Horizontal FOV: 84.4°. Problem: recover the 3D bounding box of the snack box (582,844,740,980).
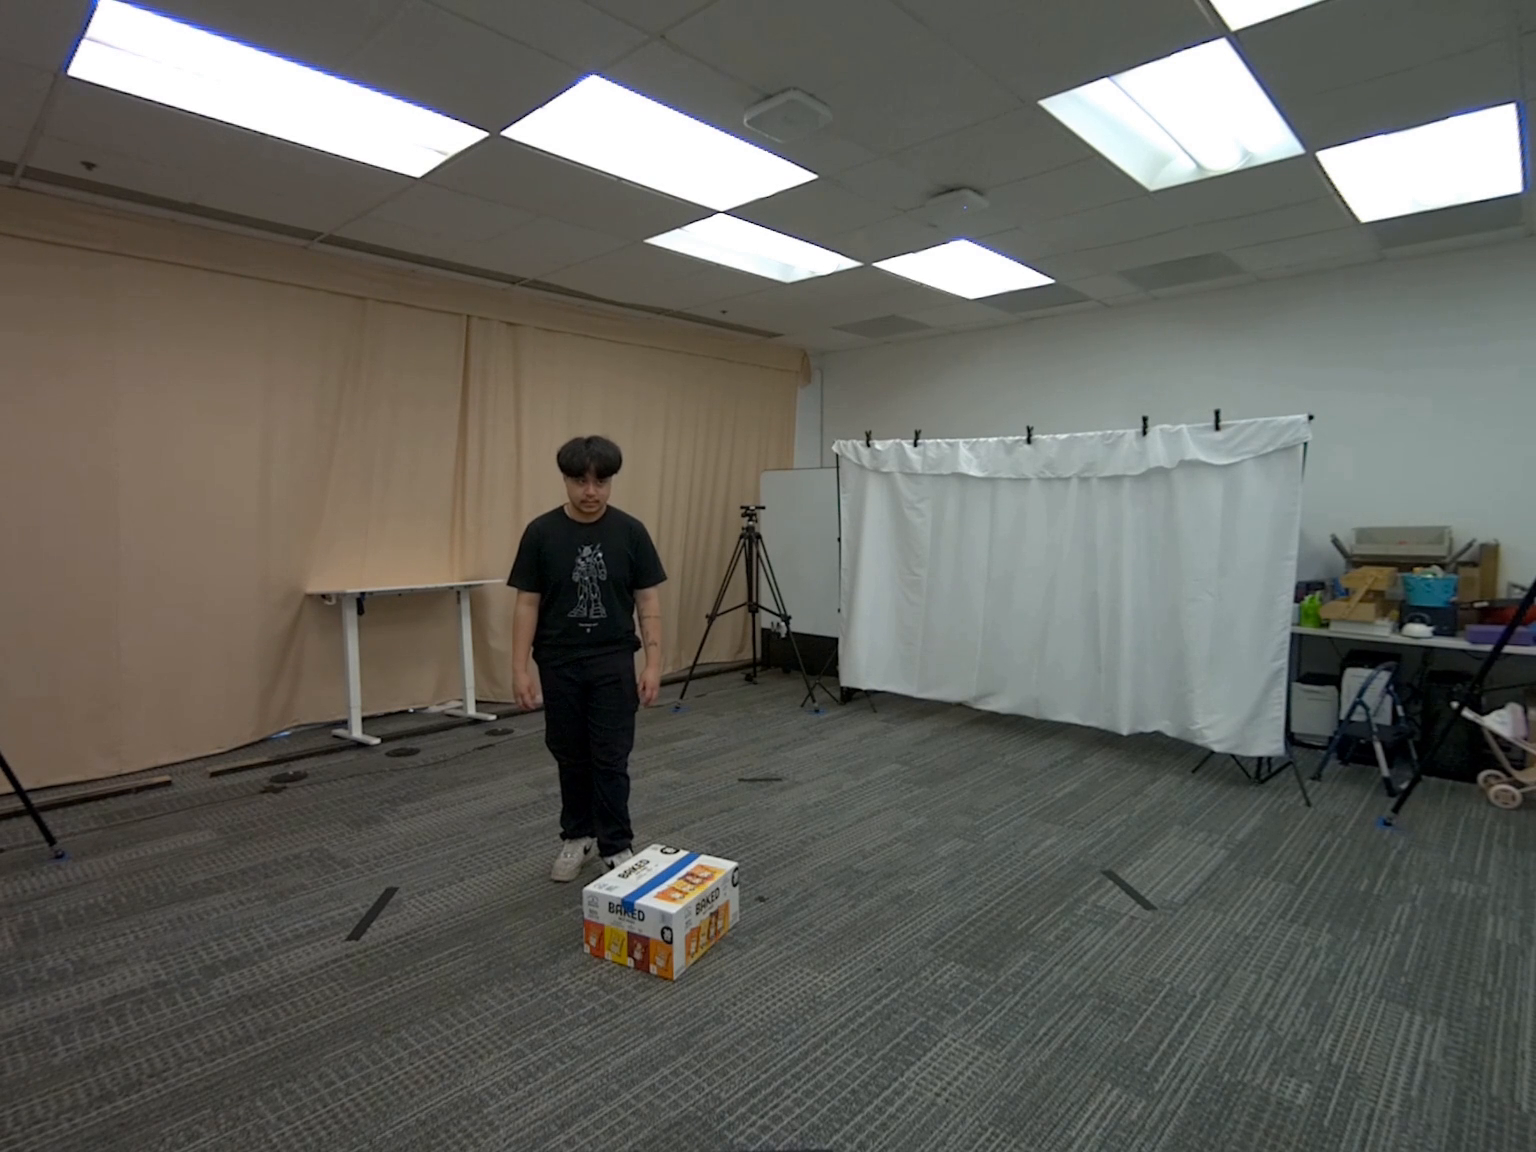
[{"bbox_3d":[-0.335,1.066,2.714,0.350,0.205,0.395,2,5,28],"label":"snack box"}]
